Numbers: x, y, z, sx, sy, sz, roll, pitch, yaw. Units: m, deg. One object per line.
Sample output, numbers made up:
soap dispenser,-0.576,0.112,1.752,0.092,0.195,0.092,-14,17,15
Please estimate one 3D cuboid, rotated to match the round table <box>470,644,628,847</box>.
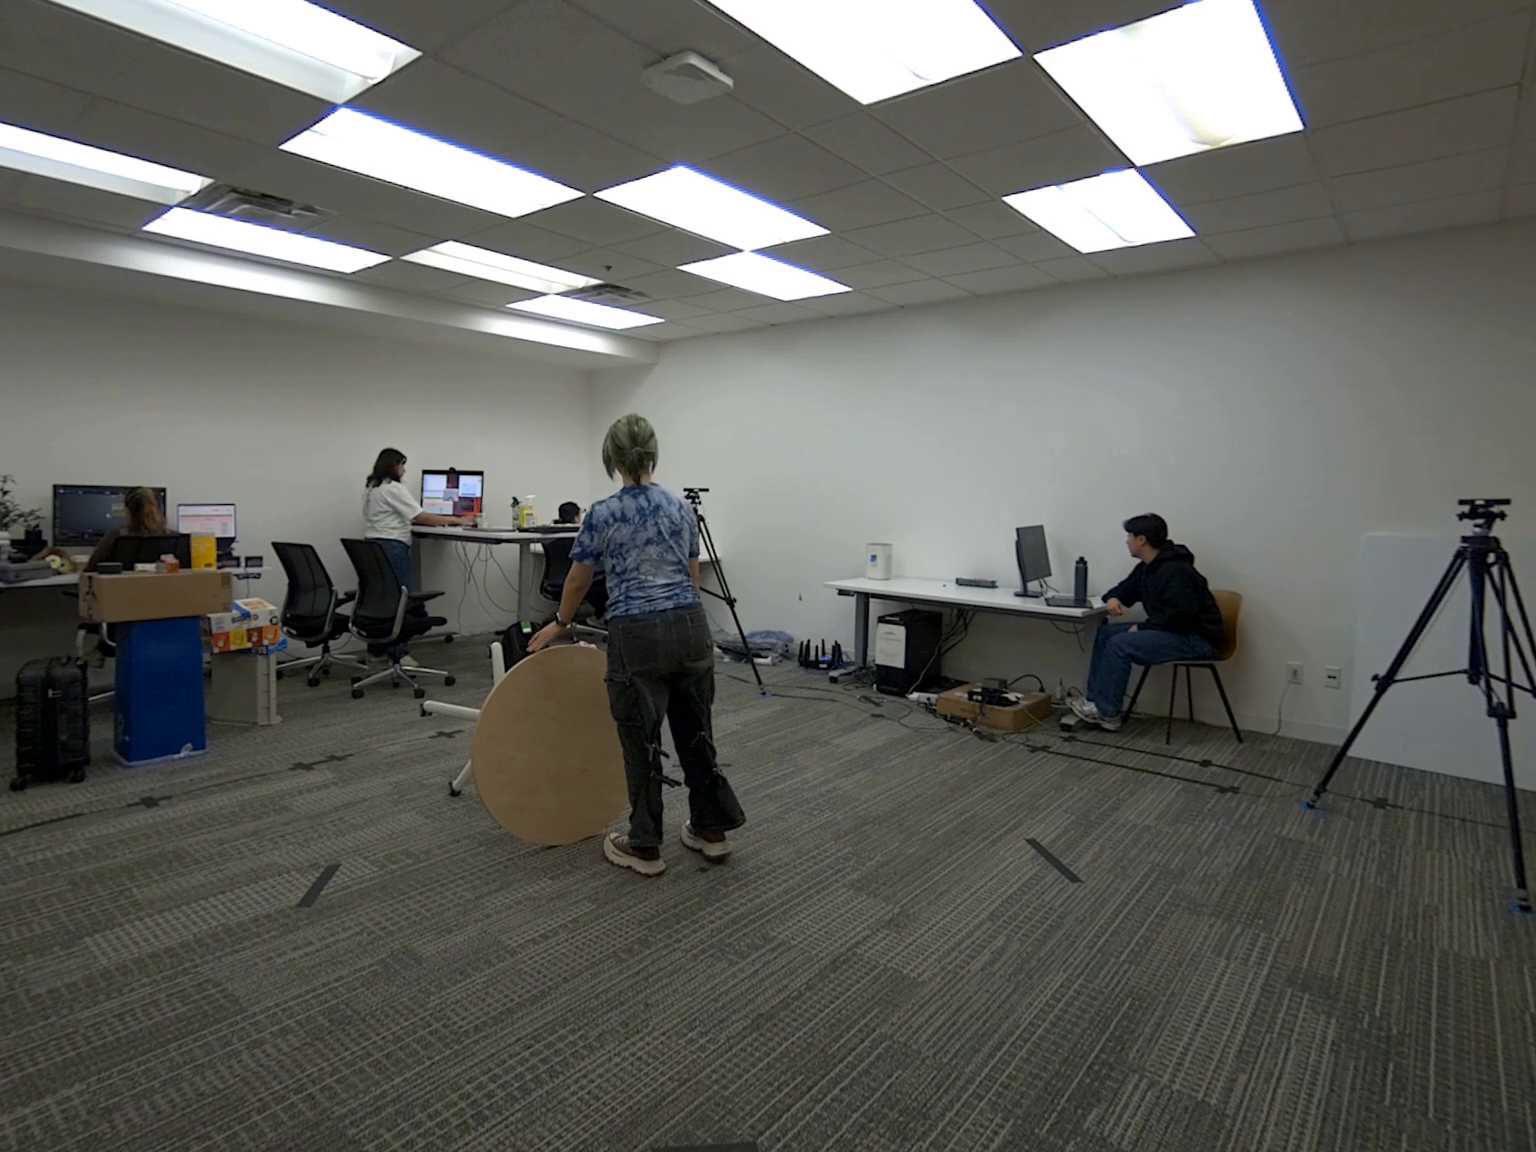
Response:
round table,-1.049,0.662,3.652,0.741,0.765,0.817,-2,-1,-38
